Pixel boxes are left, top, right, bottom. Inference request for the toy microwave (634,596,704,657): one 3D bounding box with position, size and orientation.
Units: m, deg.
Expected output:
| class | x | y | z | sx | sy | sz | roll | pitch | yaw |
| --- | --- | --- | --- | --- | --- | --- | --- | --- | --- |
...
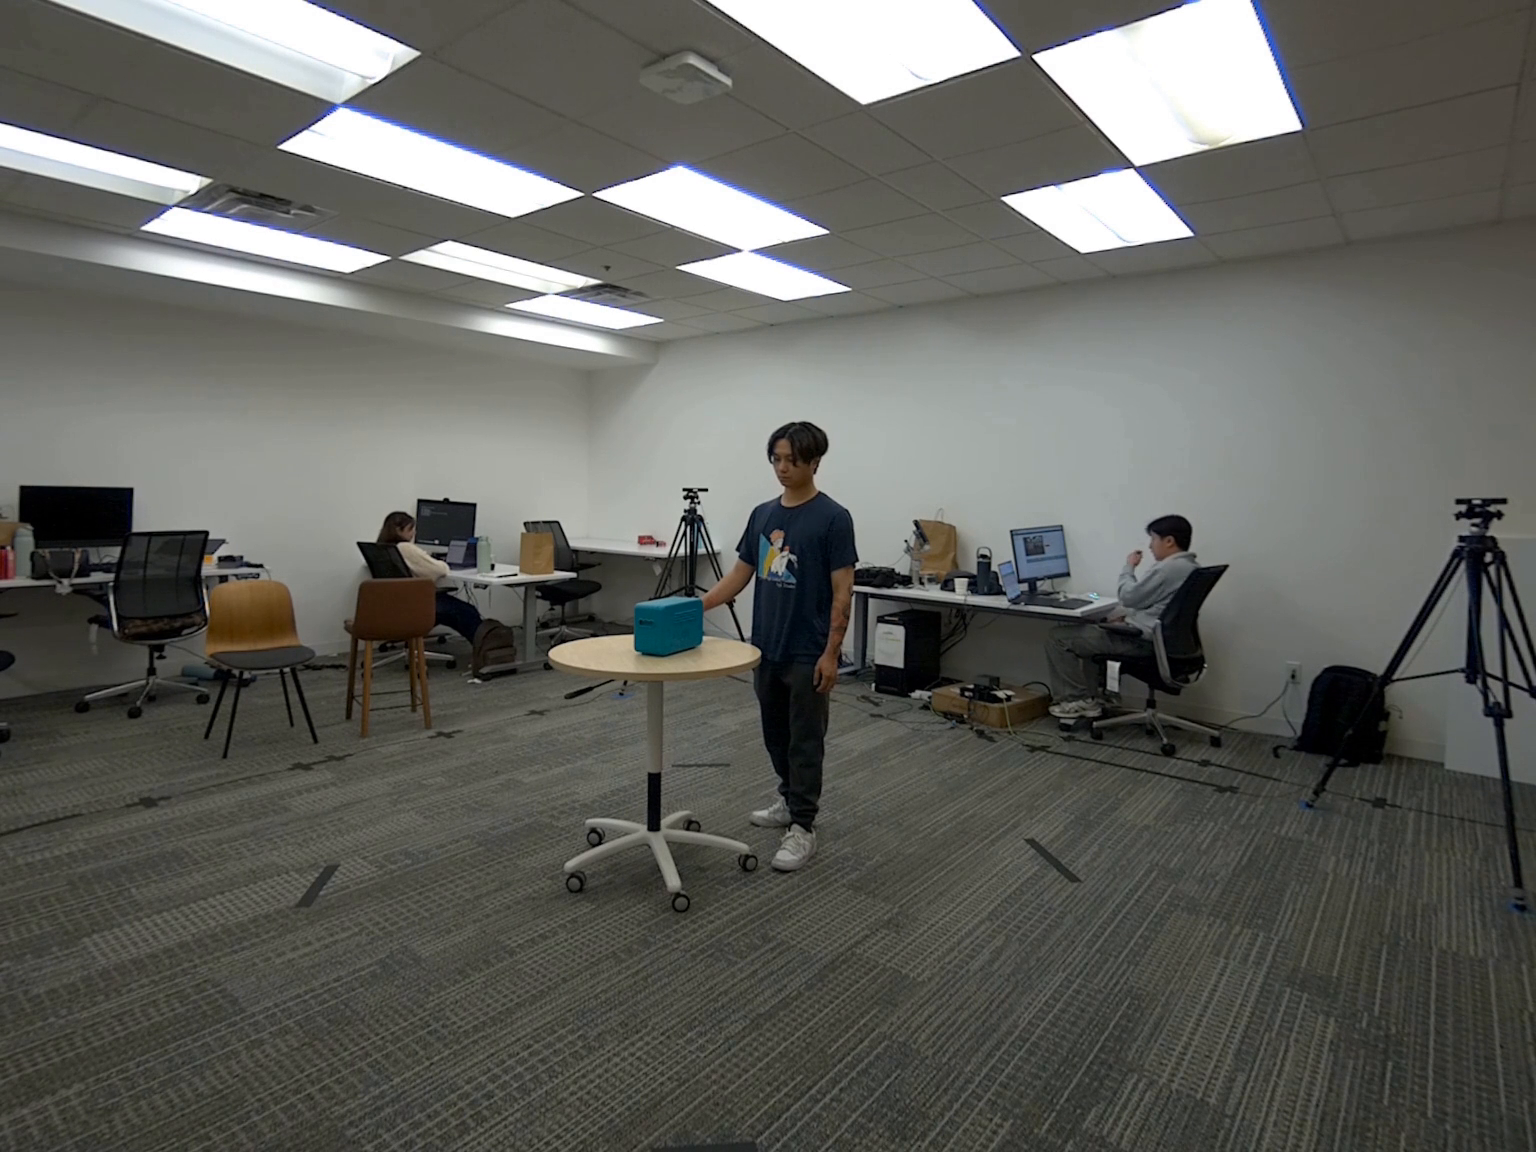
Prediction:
| class | x | y | z | sx | sy | sz | roll | pitch | yaw |
| --- | --- | --- | --- | --- | --- | --- | --- | --- | --- |
| toy microwave | -0.384 | 0.180 | 3.097 | 0.156 | 0.184 | 0.280 | 1 | 4 | 23 |
